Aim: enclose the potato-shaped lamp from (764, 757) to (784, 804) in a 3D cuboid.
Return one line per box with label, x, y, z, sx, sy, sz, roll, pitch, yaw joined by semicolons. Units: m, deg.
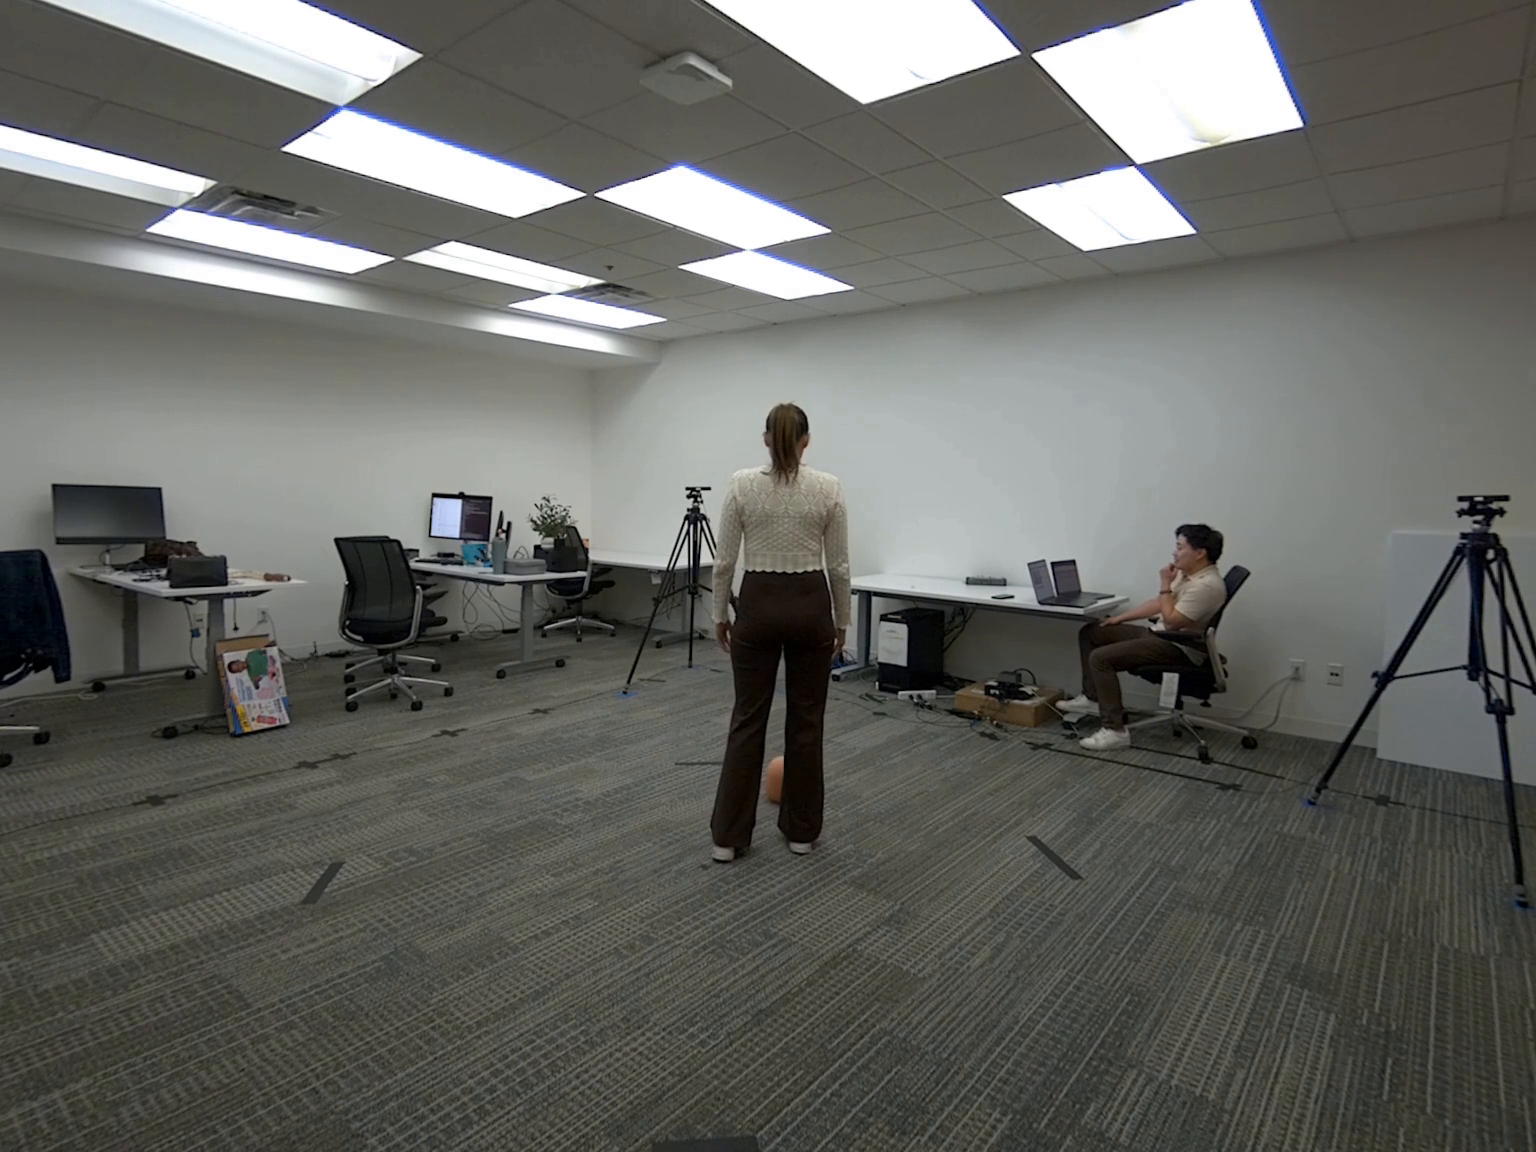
potato-shaped lamp;0.058;0.897;3.795;0.169;0.197;0.167;5;5;28
